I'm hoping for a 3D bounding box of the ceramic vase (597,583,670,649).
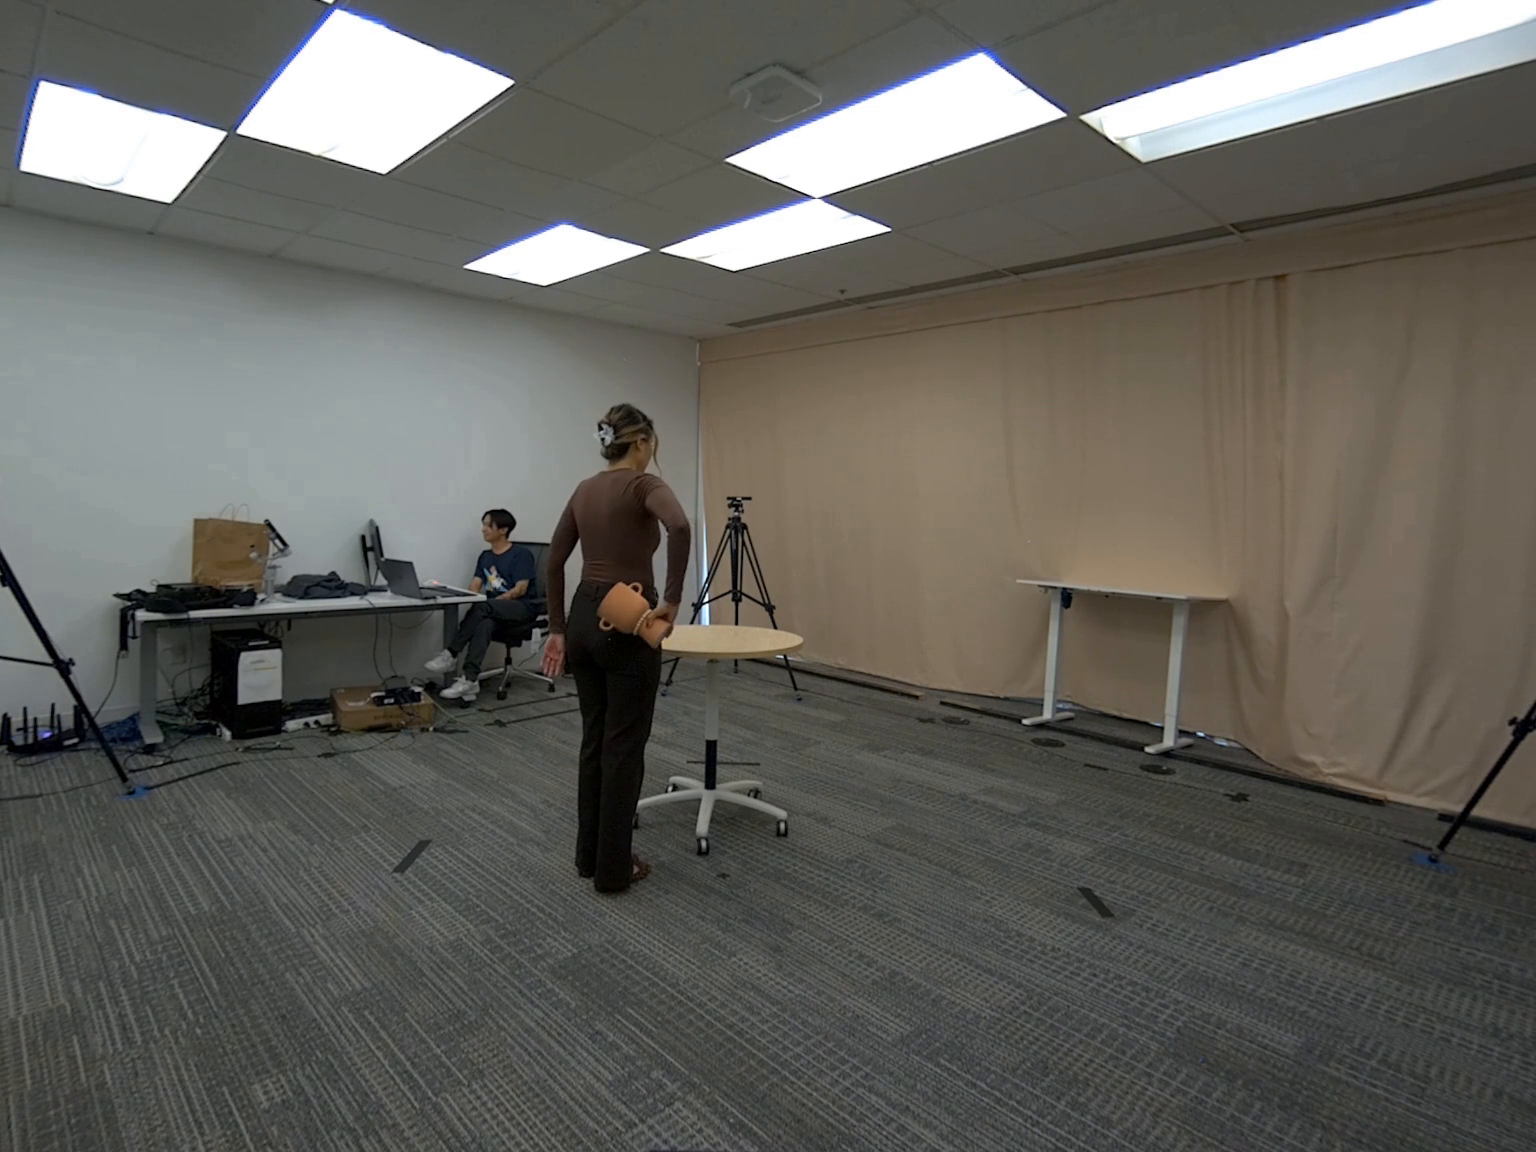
[{"bbox_3d":[-0.444,0.128,2.775,0.221,0.158,0.134,35,15,6],"label":"ceramic vase"}]
